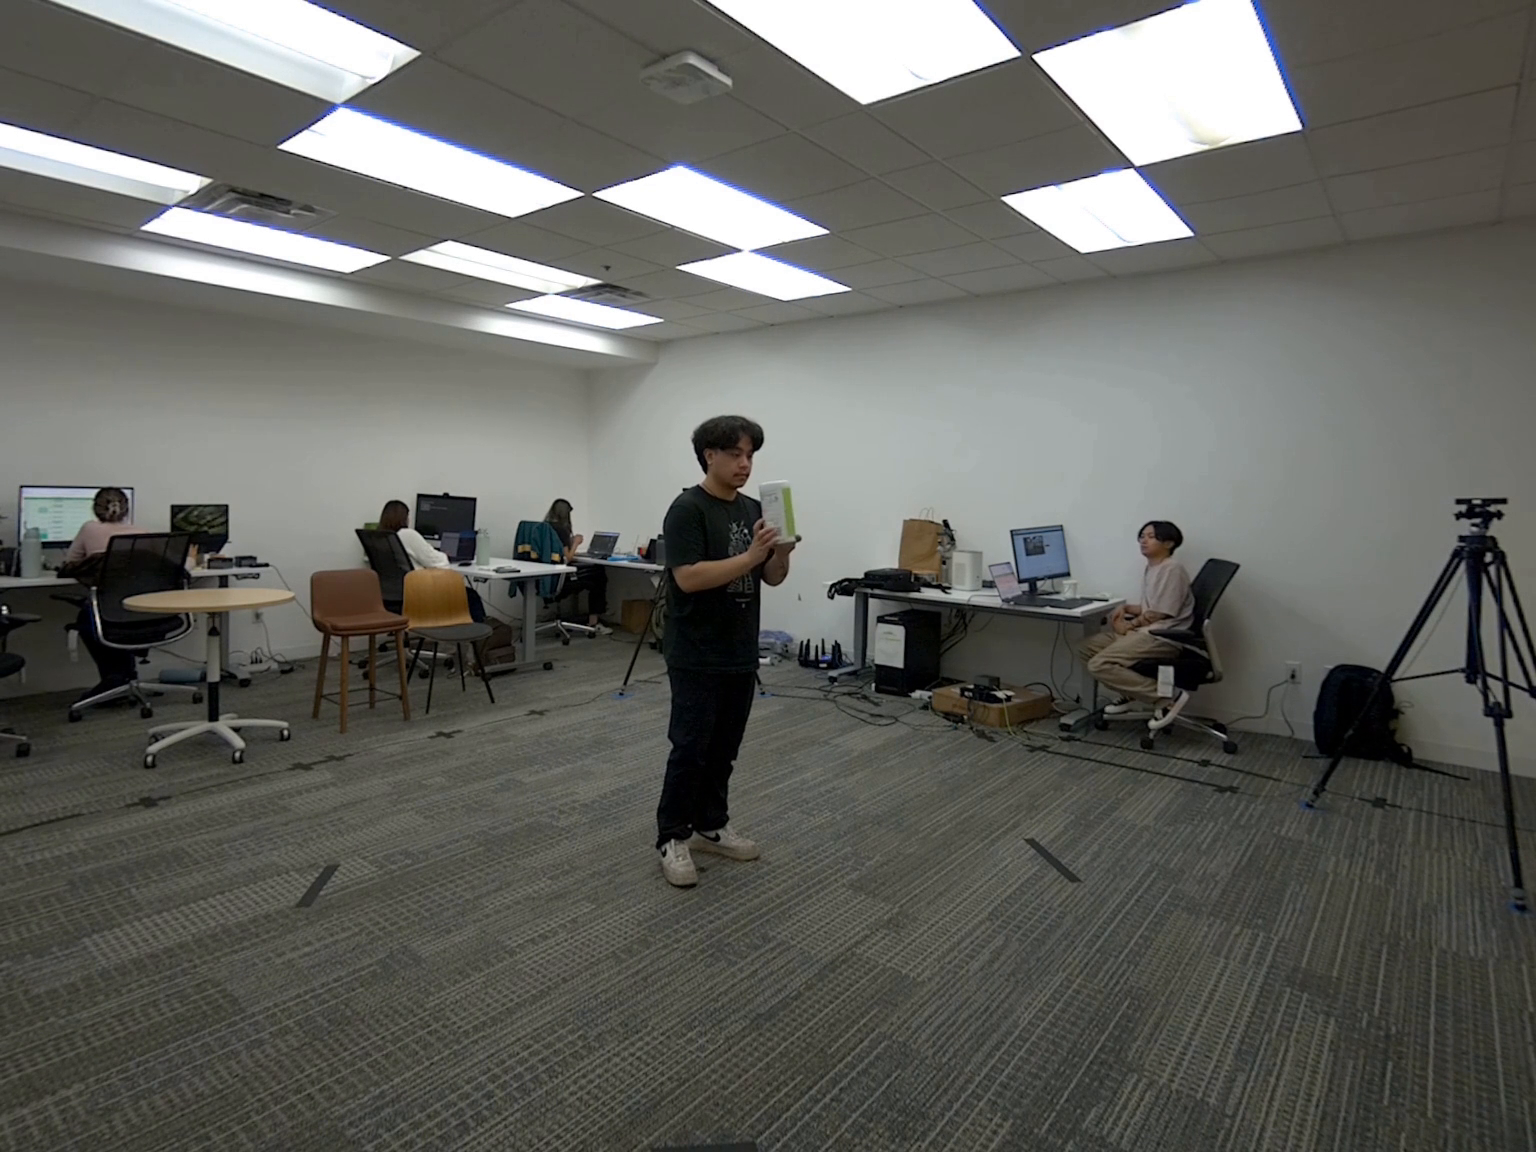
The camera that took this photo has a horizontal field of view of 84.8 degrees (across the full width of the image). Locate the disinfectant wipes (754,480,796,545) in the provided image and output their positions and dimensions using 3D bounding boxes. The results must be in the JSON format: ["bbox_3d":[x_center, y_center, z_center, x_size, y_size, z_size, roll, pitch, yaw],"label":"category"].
[{"bbox_3d":[0.022,-0.217,2.927,0.118,0.217,0.118,-5,1,-2],"label":"disinfectant wipes"}]
